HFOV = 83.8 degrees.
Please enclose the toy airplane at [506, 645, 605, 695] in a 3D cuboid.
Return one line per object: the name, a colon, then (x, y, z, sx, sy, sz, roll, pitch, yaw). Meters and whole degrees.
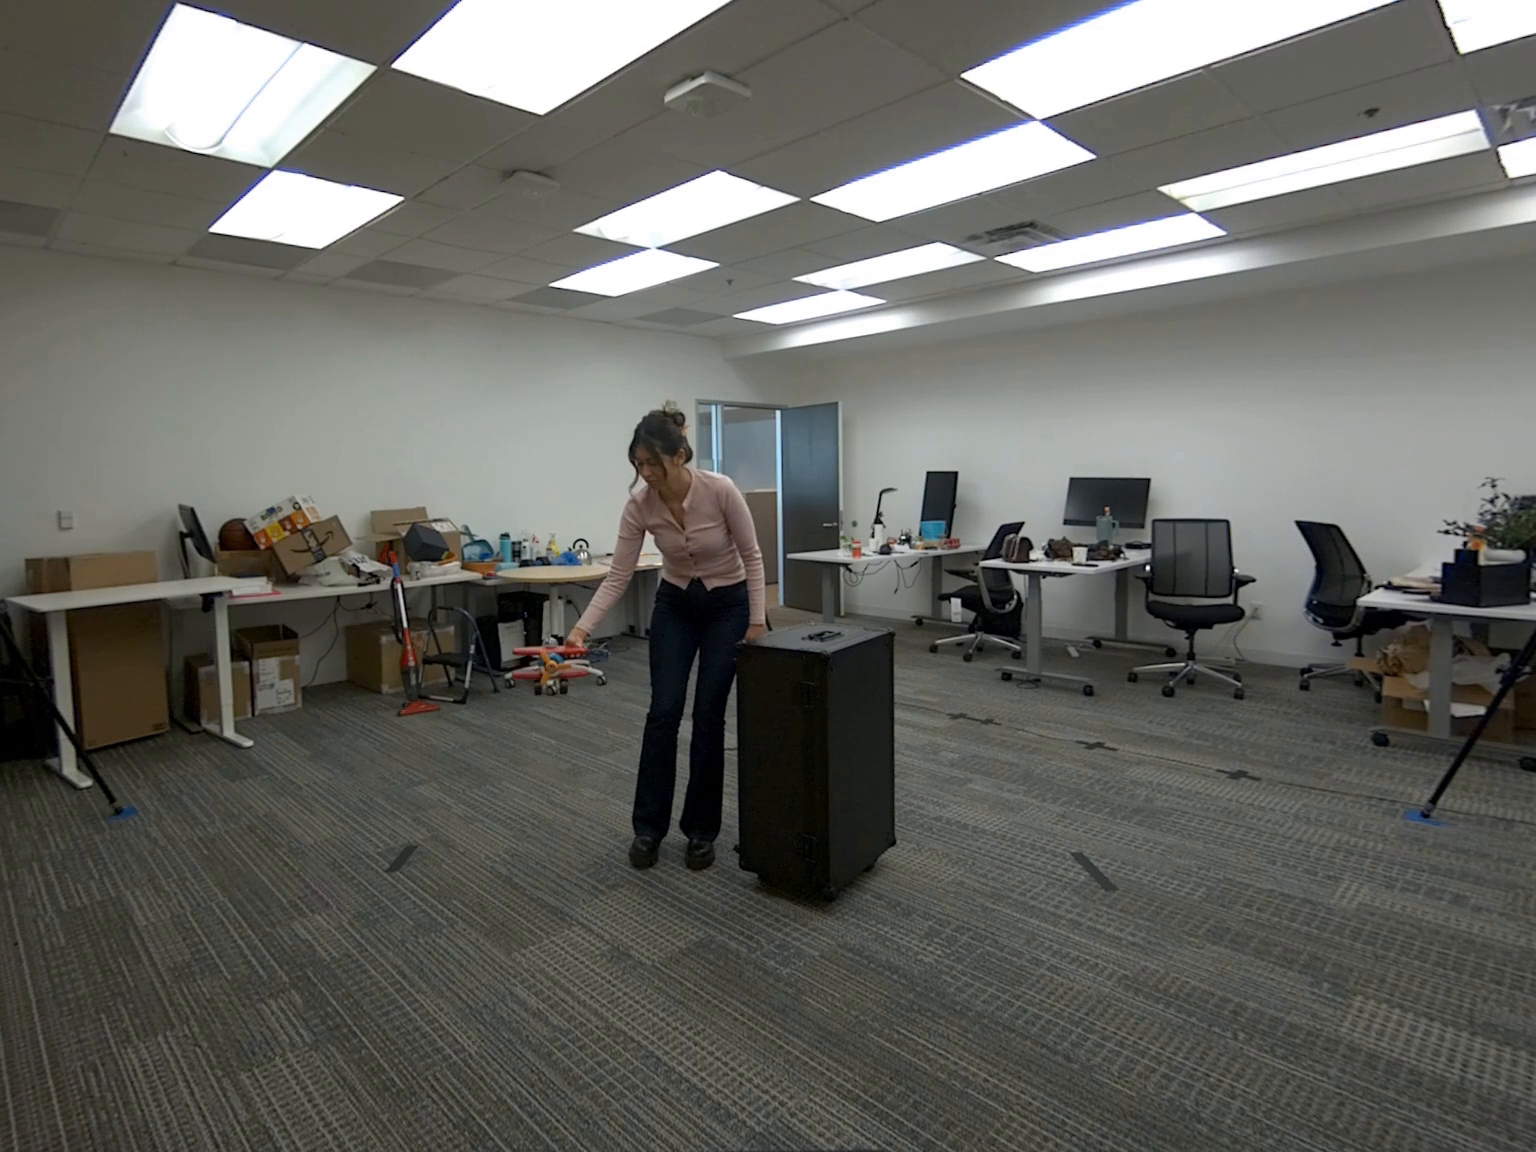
toy airplane: (-0.764, 0.300, 2.939, 0.245, 0.154, 0.269, -11, 23, -38)
